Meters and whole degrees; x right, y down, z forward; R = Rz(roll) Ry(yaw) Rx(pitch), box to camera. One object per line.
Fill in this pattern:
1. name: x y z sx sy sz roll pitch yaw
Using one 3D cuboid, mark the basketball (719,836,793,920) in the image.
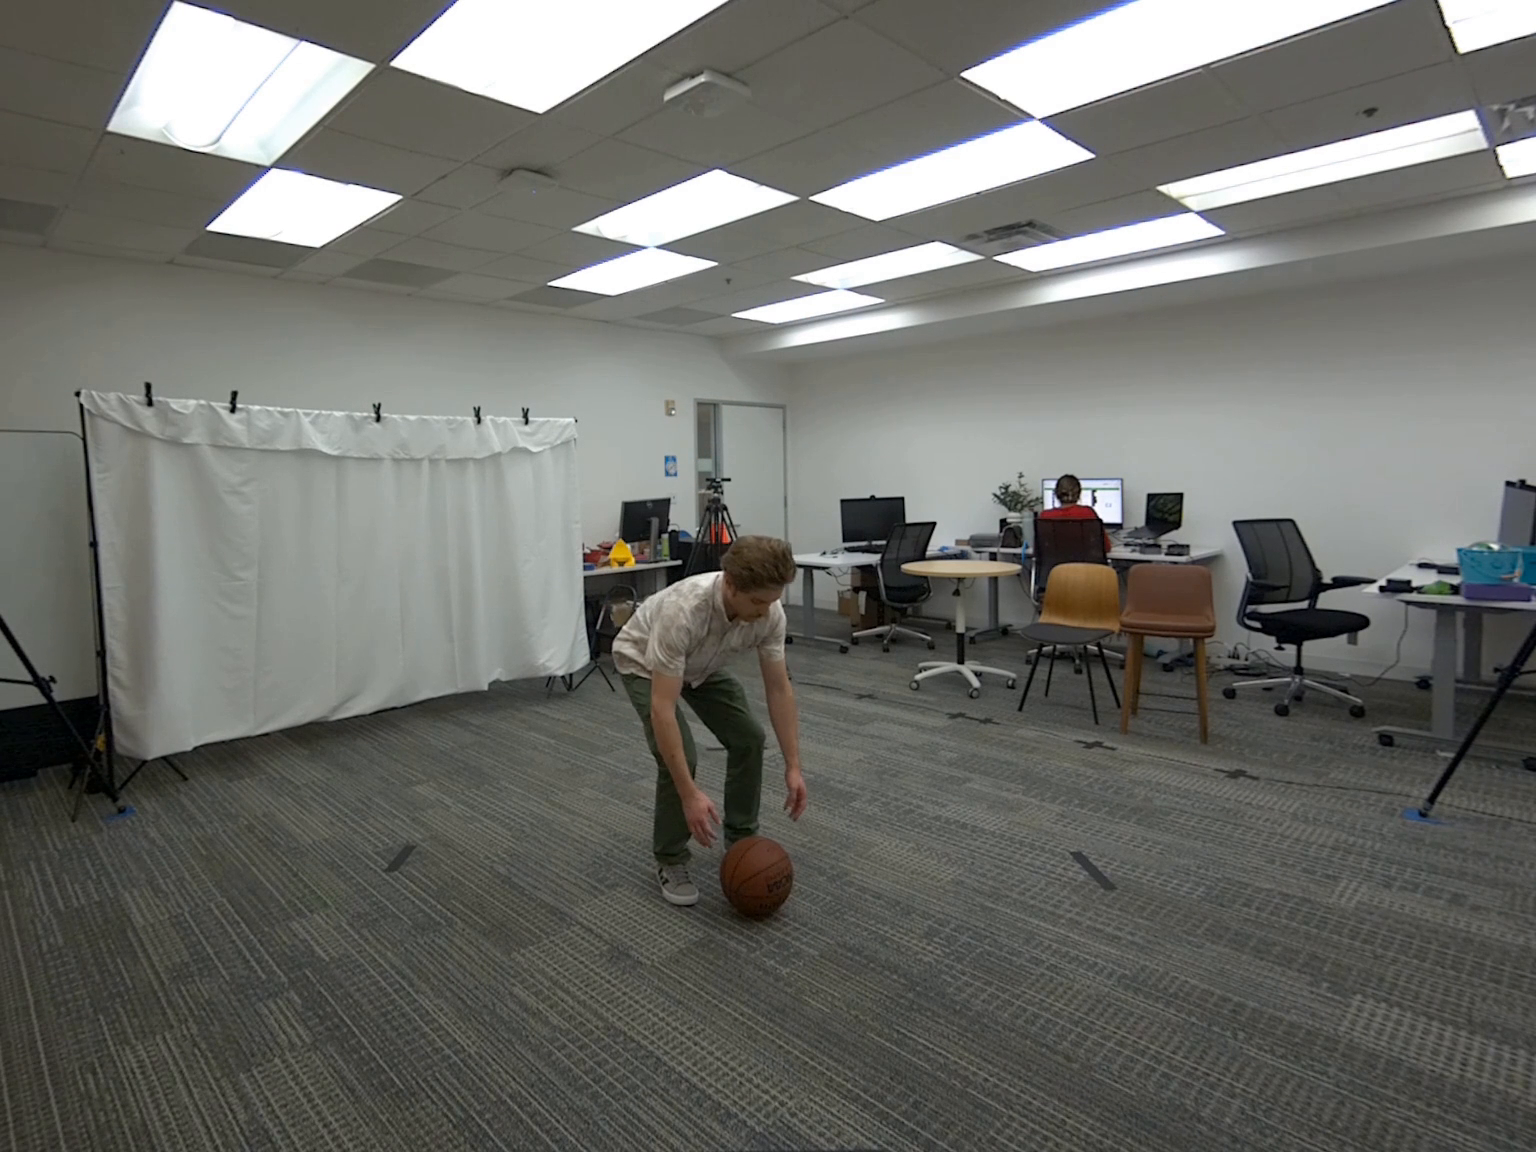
1. basketball: -0.035 0.962 2.754 0.236 0.235 0.237 -1 5 -2
